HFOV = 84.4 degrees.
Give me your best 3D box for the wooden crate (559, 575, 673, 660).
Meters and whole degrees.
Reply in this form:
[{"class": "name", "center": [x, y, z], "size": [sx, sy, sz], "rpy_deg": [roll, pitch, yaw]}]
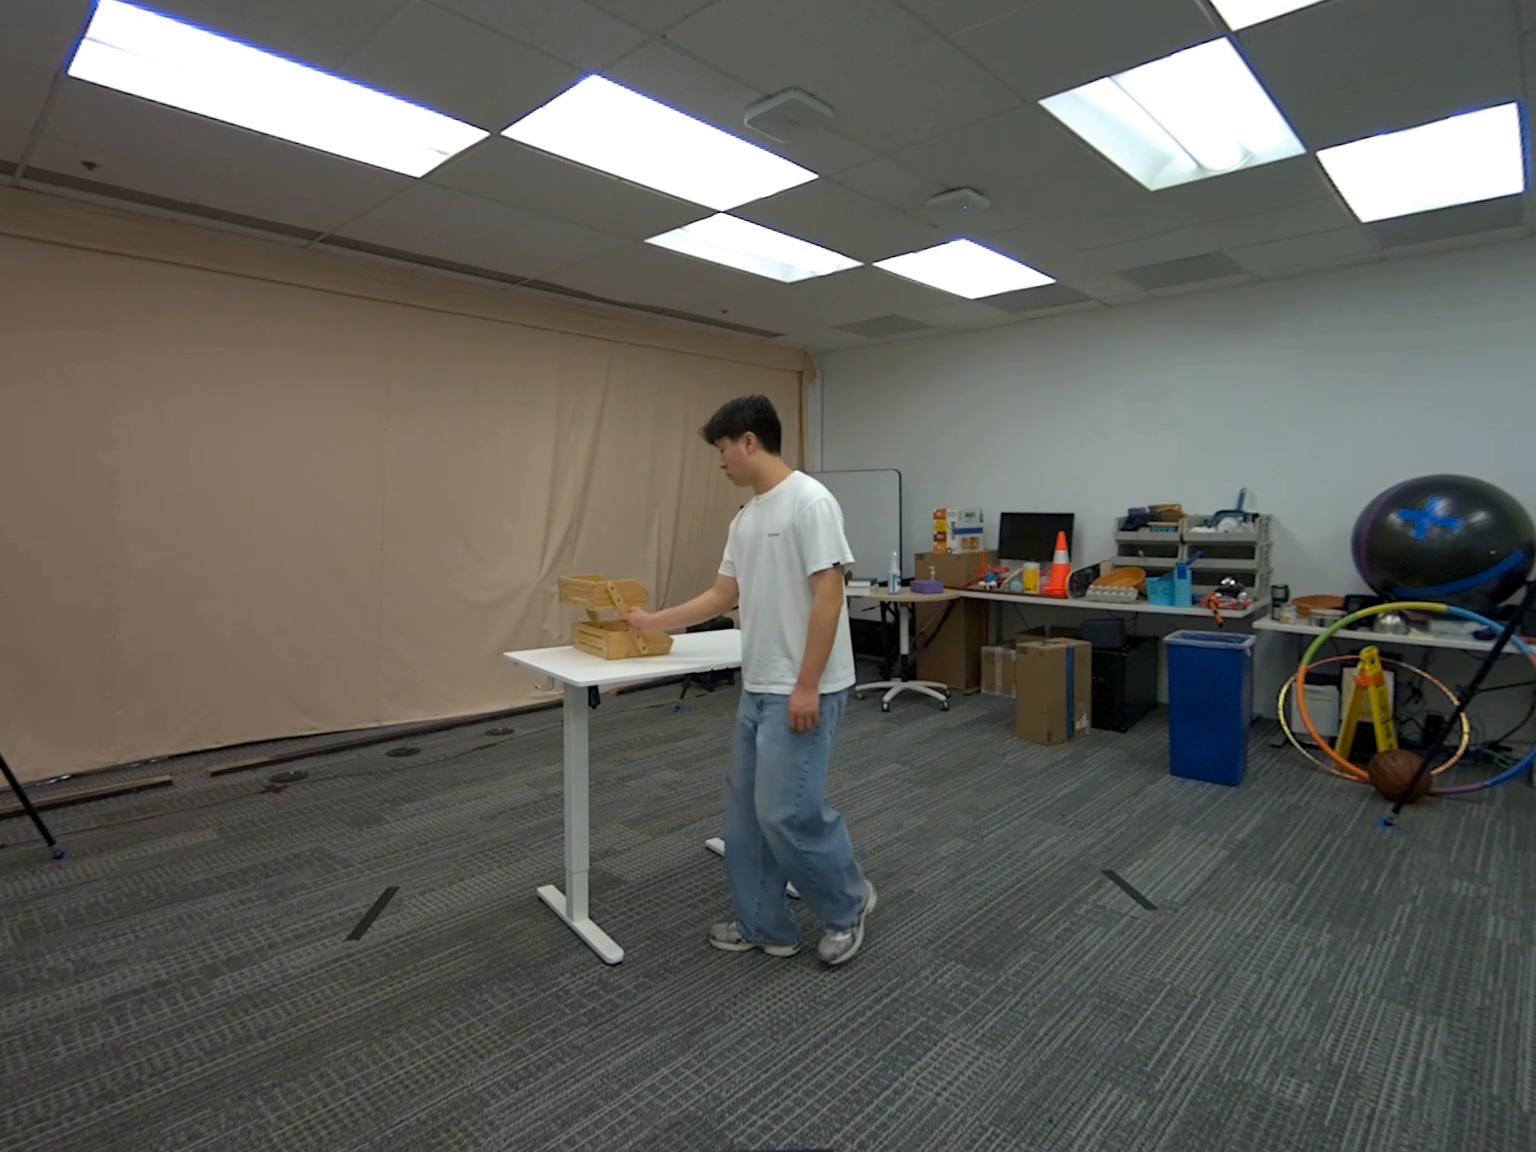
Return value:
[{"class": "wooden crate", "center": [-0.523, 0.122, 2.952], "size": [0.293, 0.273, 0.334], "rpy_deg": [-4, 4, -35]}]
